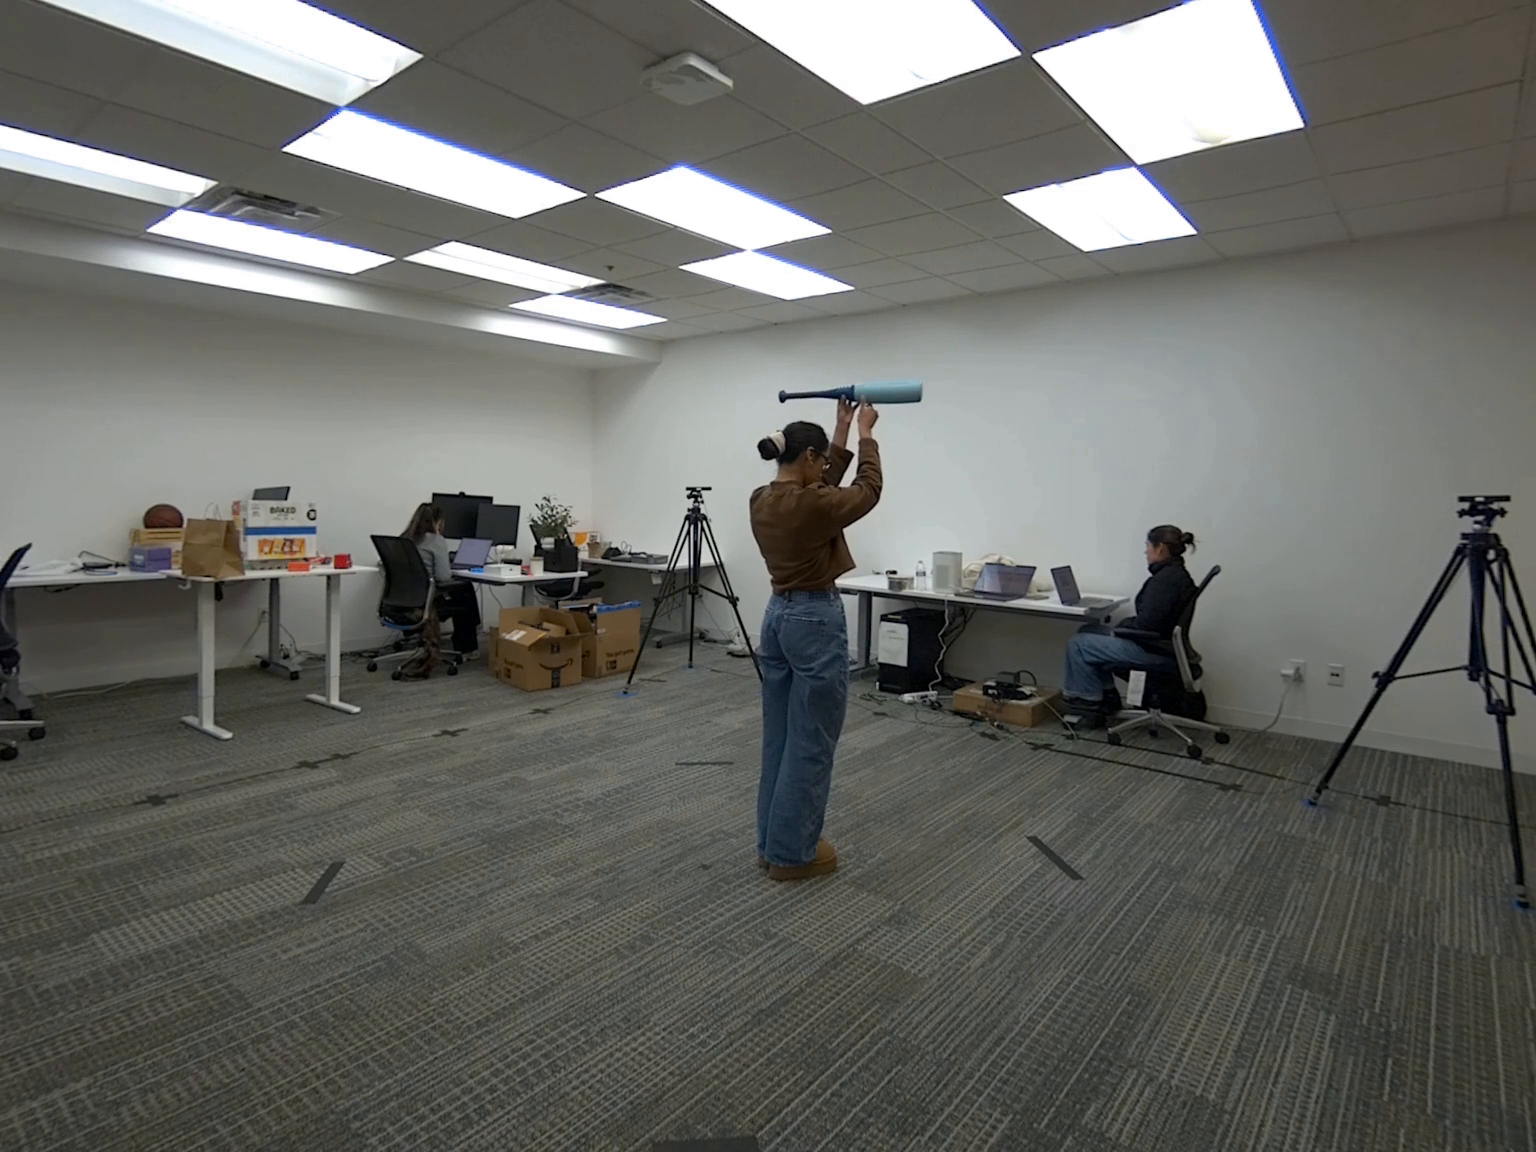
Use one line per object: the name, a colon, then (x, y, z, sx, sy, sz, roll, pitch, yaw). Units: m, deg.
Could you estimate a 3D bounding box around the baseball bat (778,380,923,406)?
baseball bat: (0.306, -0.703, 3.236, 0.550, 0.089, 0.088, 1, 4, 12)
